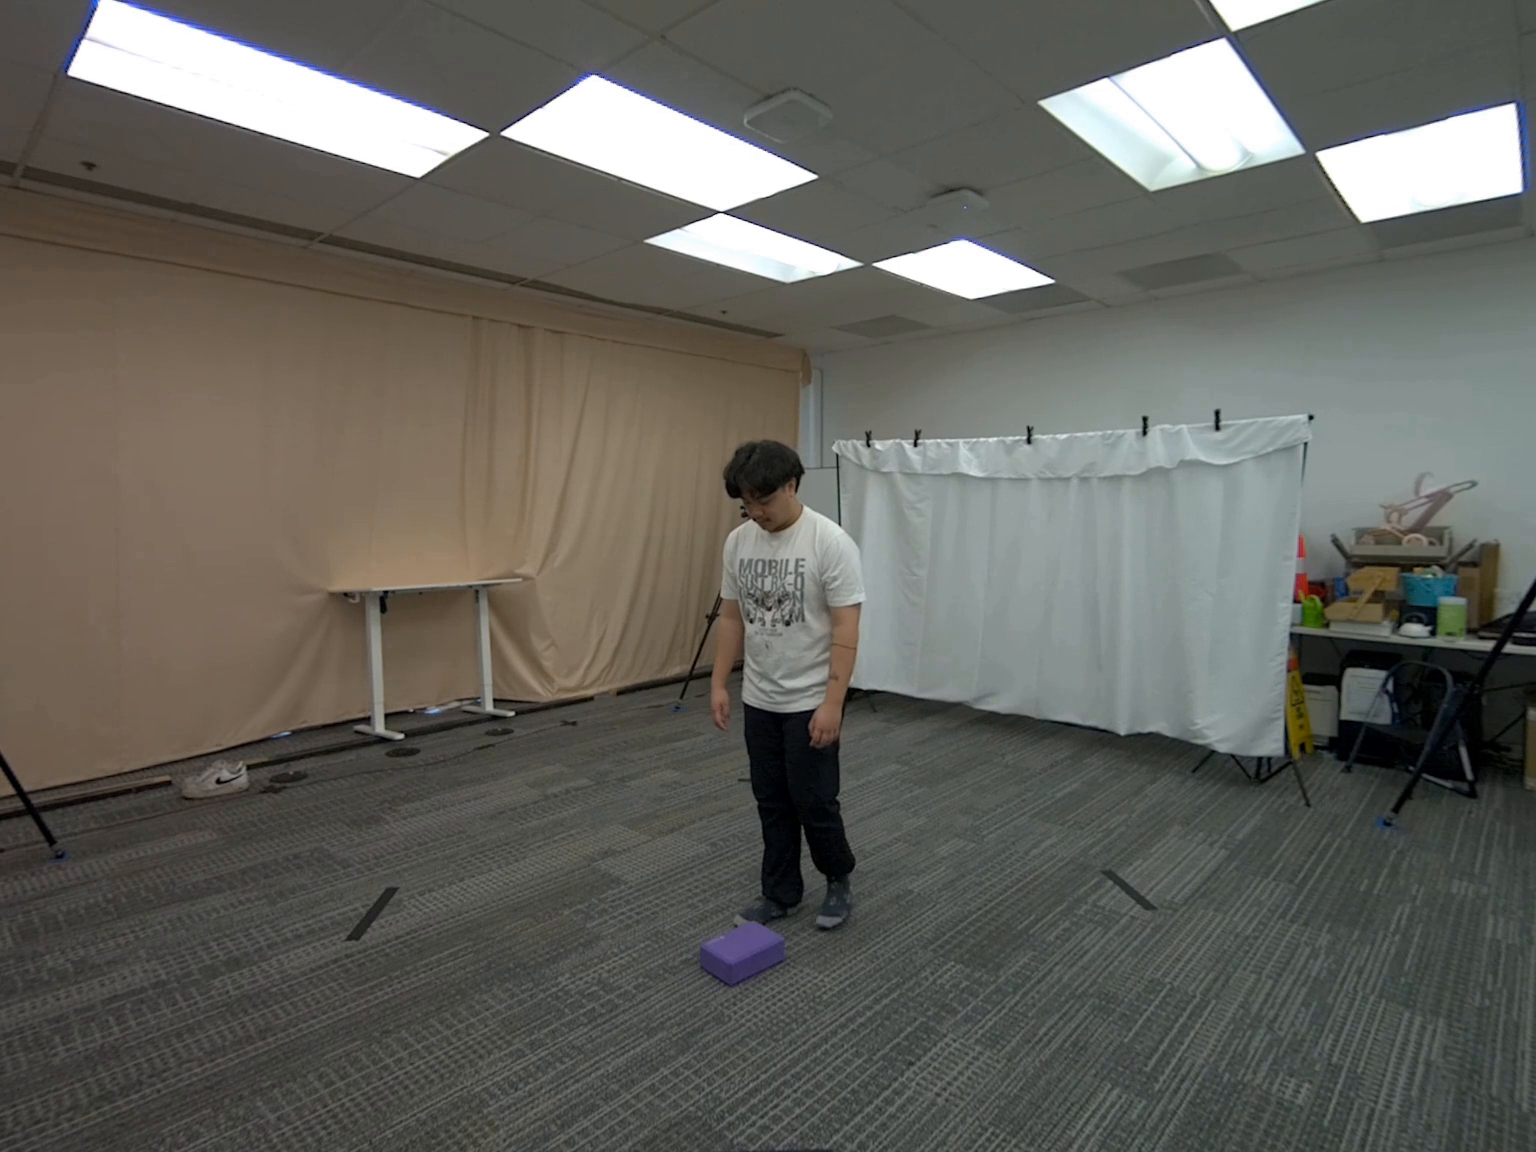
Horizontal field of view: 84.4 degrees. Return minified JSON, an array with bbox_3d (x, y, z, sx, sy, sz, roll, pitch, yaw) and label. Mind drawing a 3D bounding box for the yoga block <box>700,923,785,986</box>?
[{"bbox_3d":[-0.074,1.142,2.557,0.222,0.076,0.154,-4,7,-43],"label":"yoga block"}]
